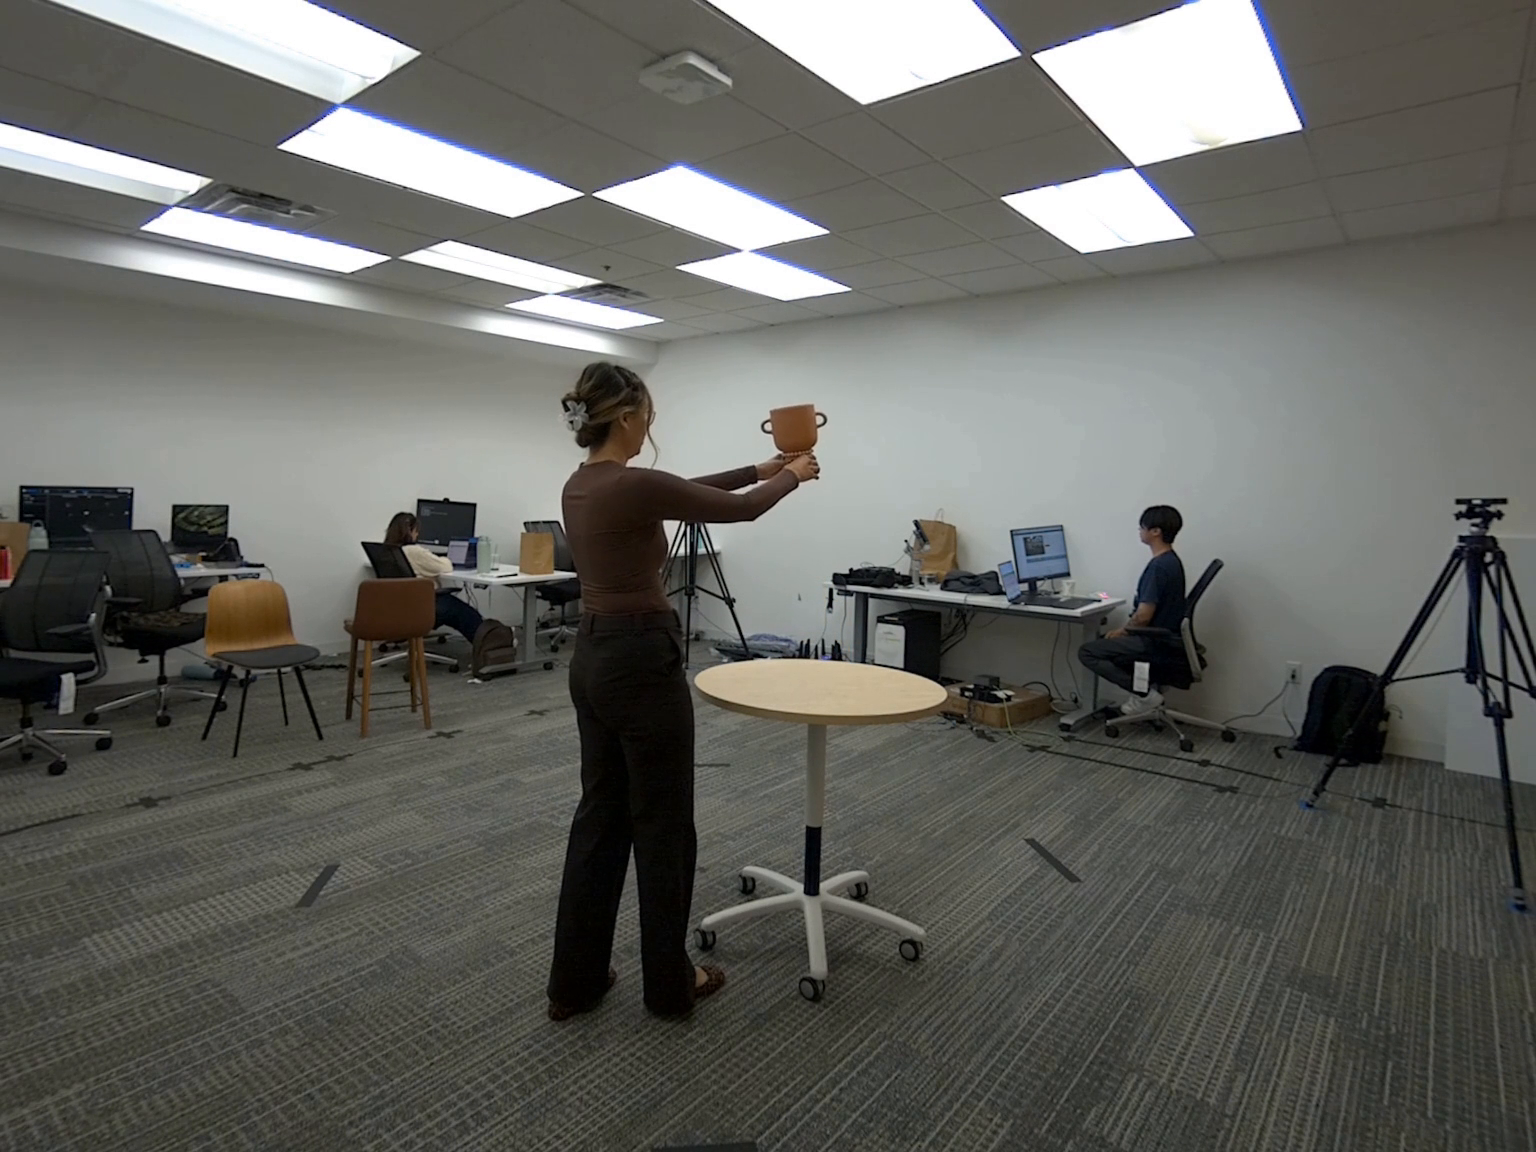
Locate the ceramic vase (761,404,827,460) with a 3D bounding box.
[{"bbox_3d":[0.080,-0.401,2.557,0.164,0.218,0.131,0,10,43],"label":"ceramic vase"}]
